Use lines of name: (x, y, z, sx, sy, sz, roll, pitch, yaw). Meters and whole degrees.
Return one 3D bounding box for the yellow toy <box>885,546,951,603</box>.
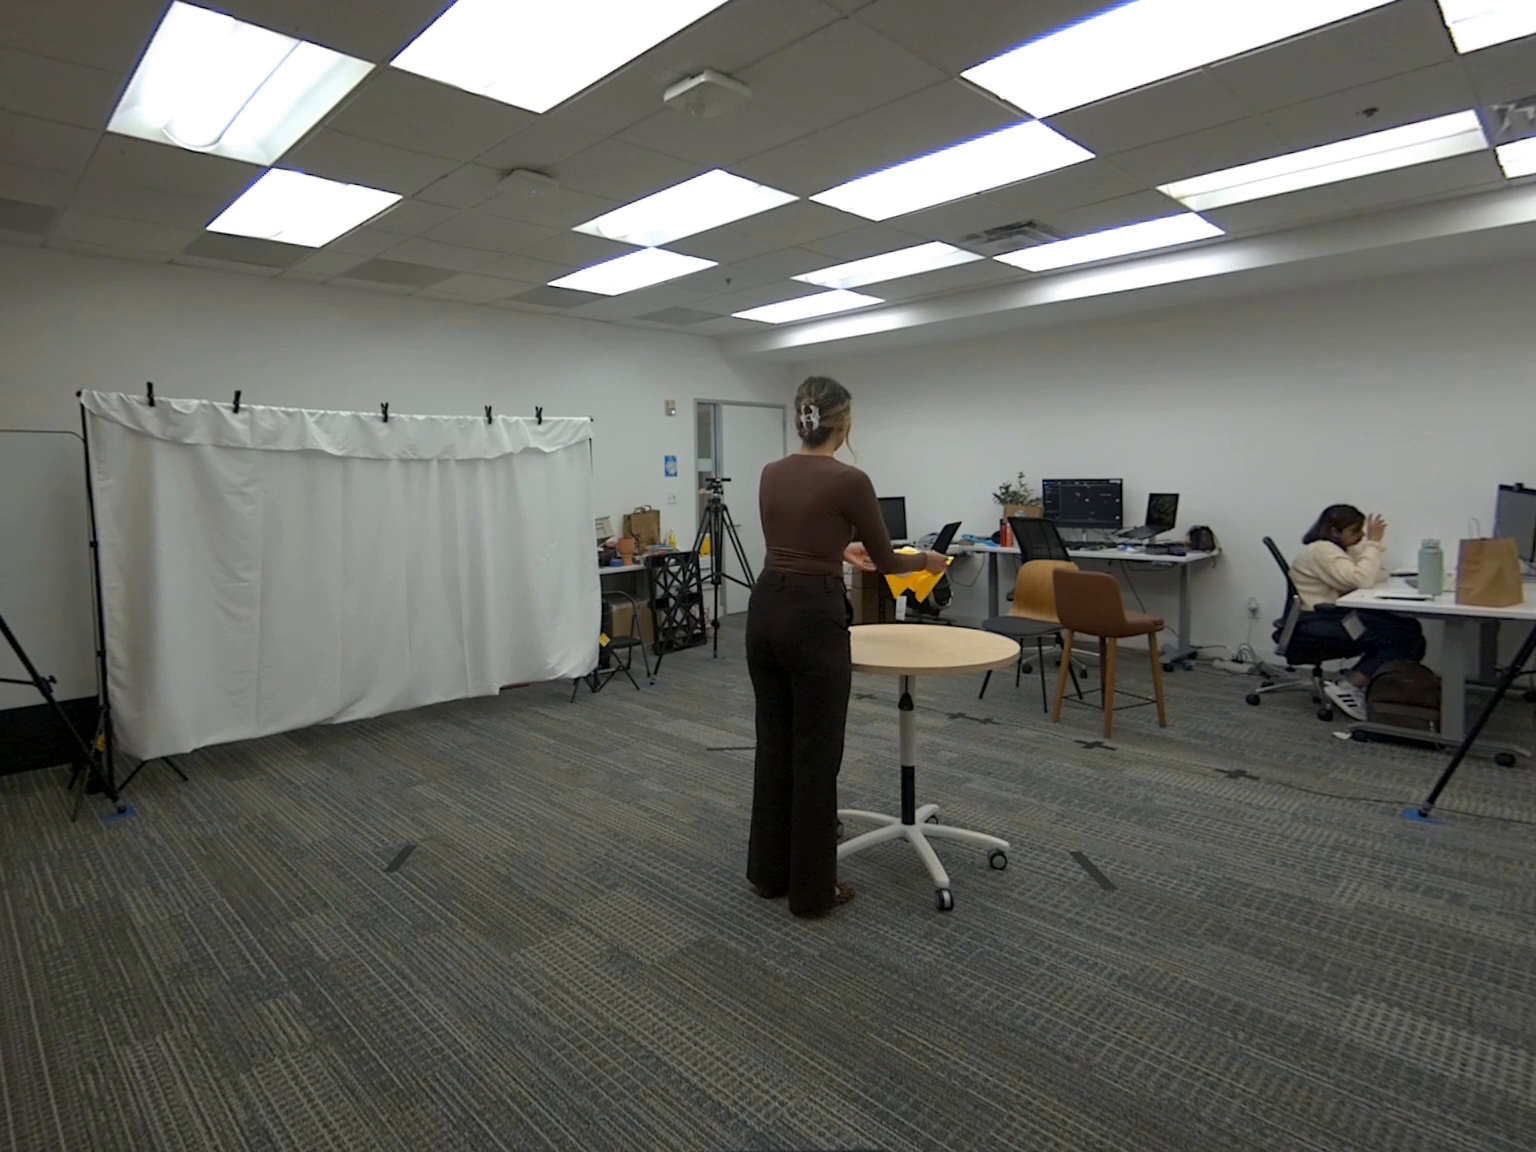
yellow toy: (0.511, -0.043, 3.105, 0.234, 0.191, 0.204, 37, 36, 9)
